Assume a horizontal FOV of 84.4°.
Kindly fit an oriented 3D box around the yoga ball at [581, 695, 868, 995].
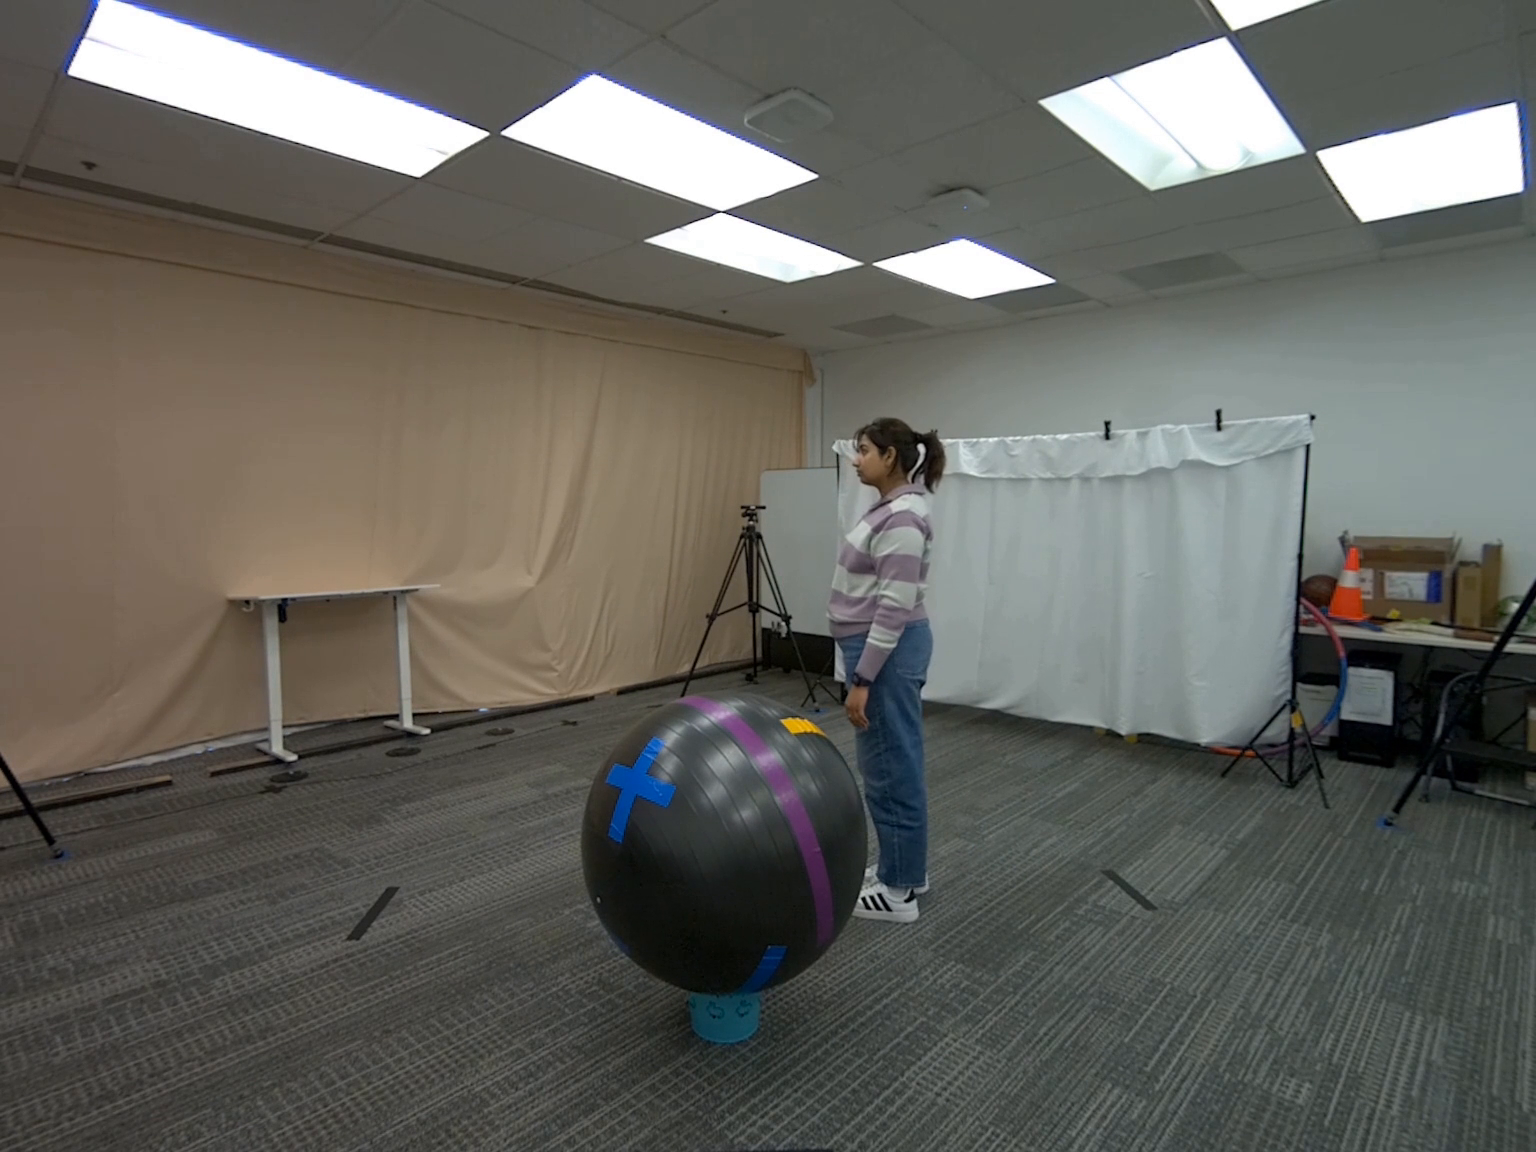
[{"bbox_3d":[-0.112,0.697,2.240,0.757,0.756,0.761,0,4,-2],"label":"yoga ball"}]
